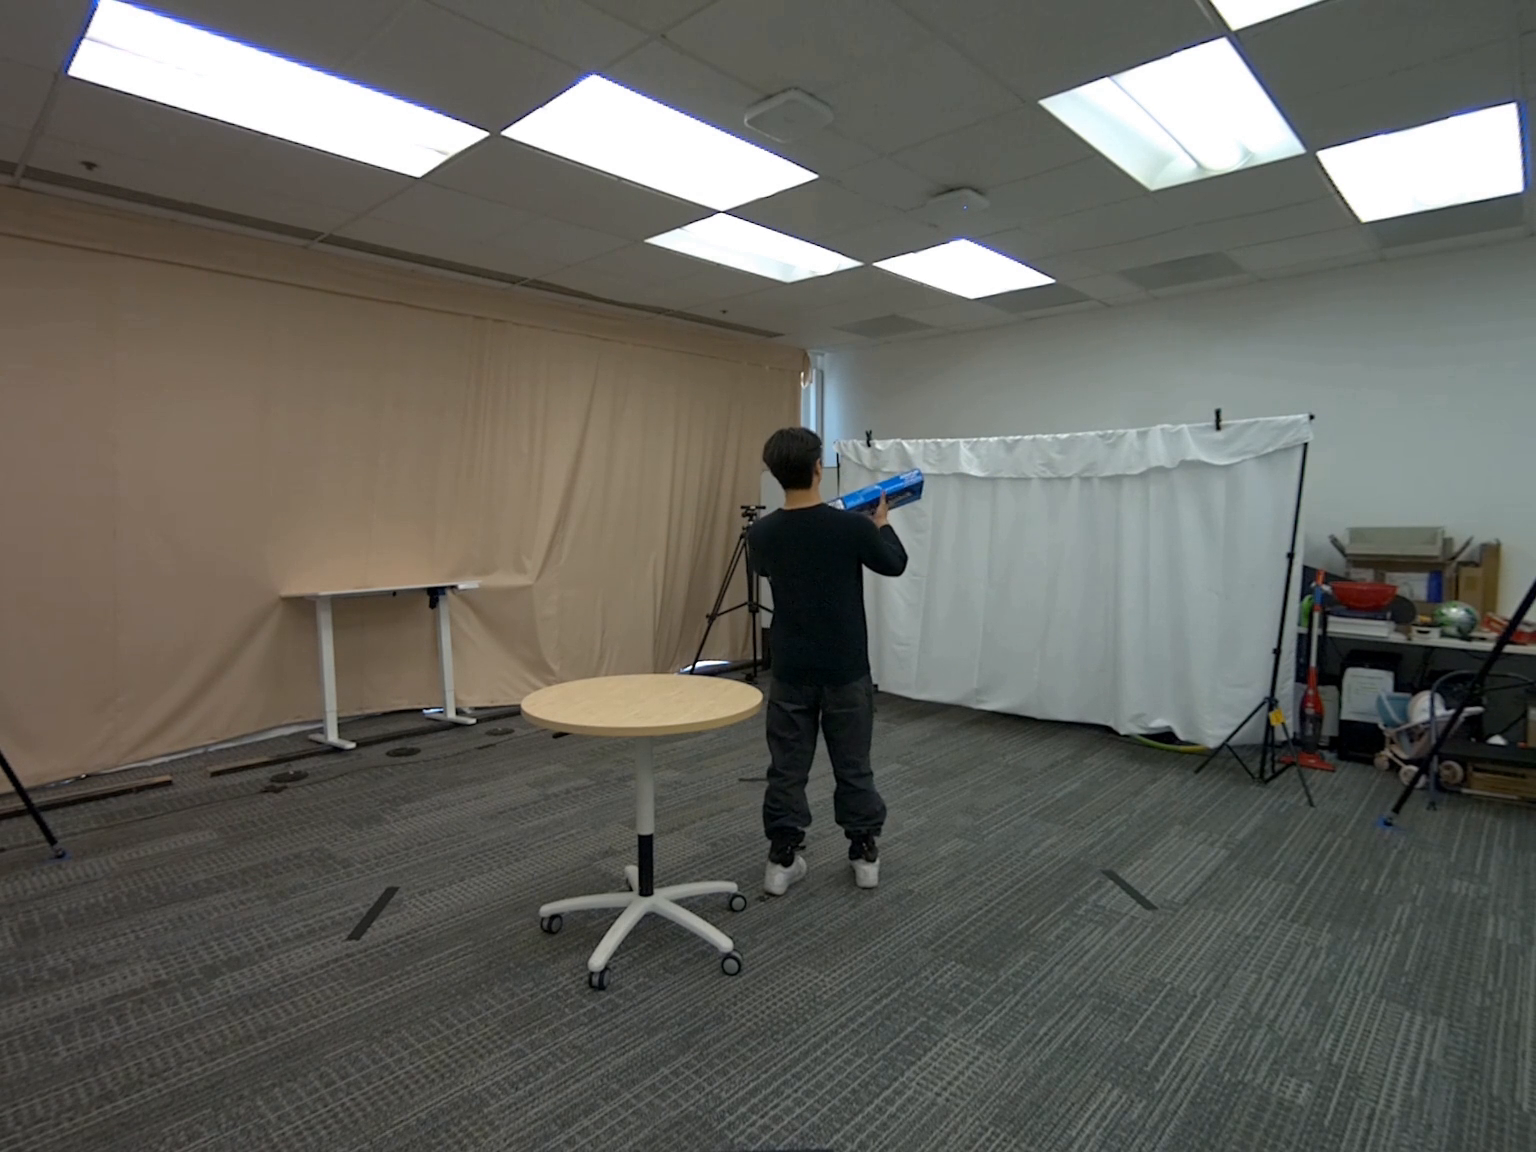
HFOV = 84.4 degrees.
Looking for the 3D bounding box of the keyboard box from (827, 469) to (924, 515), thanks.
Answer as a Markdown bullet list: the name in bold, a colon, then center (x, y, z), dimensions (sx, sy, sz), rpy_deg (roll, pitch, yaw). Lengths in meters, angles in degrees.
- **keyboard box**: center (0.413, -0.298, 3.409), dimensions (0.436, 0.060, 0.172), rpy_deg (-20, -23, -1)
